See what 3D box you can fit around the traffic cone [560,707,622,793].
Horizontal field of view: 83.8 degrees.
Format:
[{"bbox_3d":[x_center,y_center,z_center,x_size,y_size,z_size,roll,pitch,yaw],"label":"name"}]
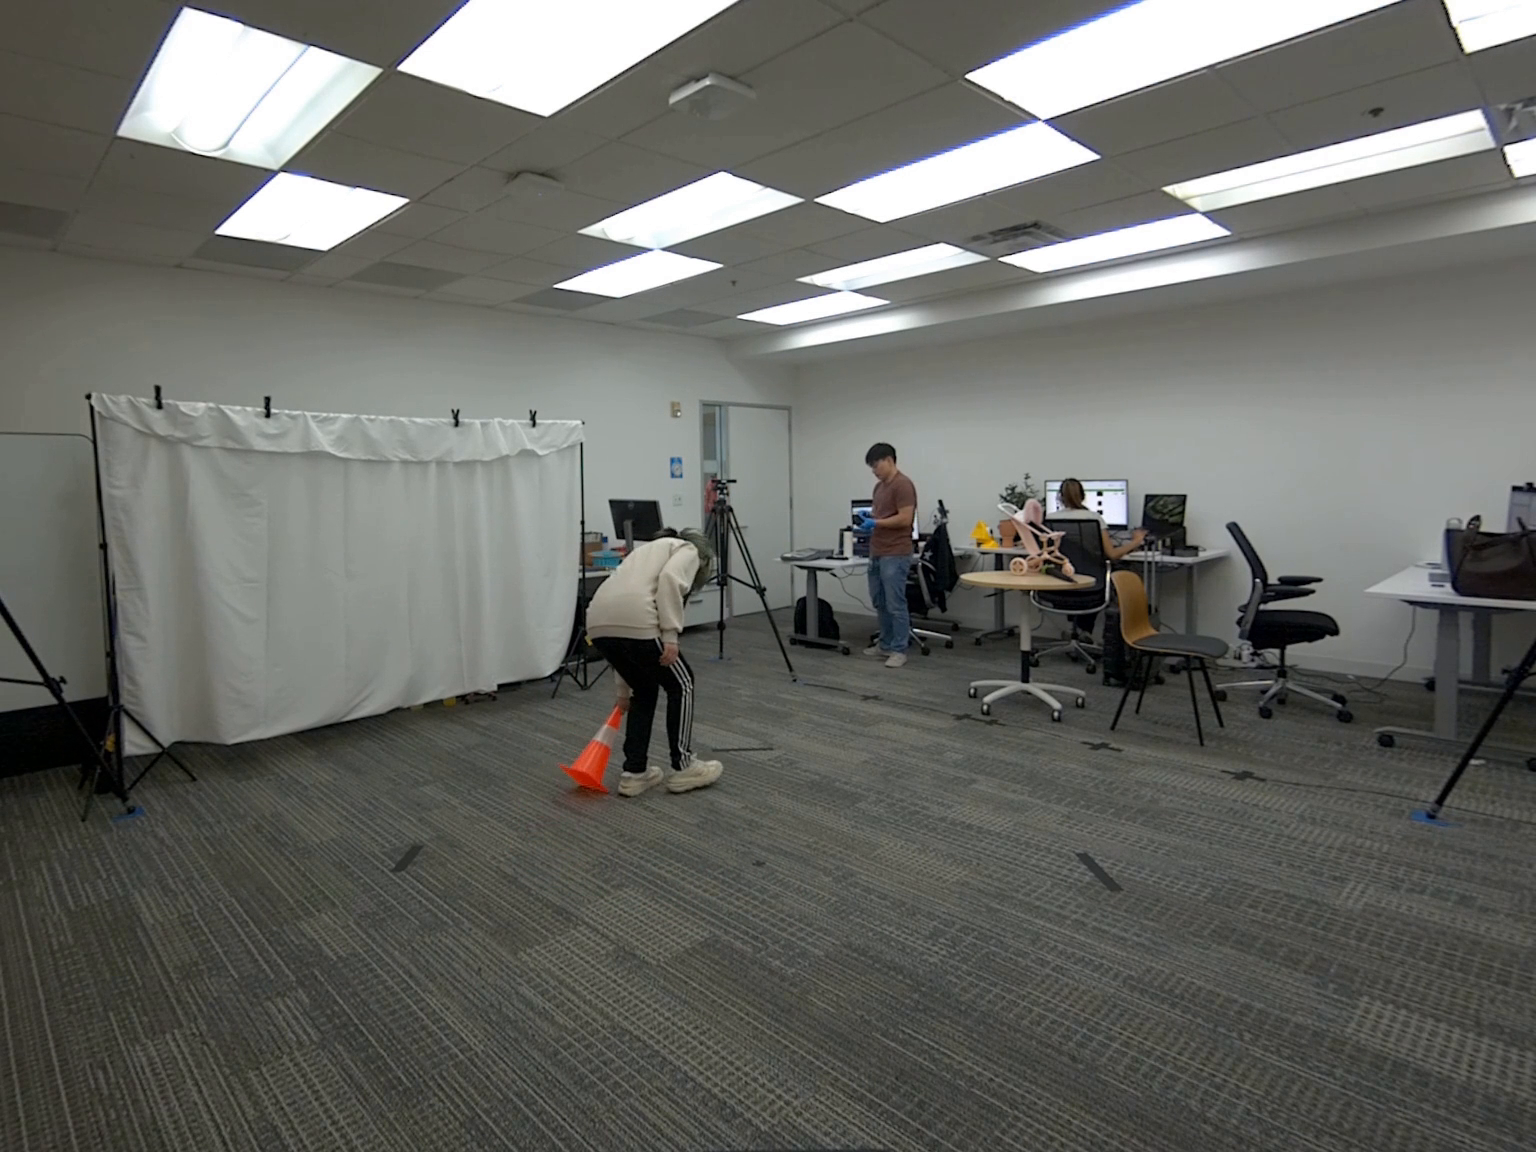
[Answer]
[{"bbox_3d":[-0.766,0.767,3.948,0.211,0.387,0.196,0,-40,35],"label":"traffic cone"}]
